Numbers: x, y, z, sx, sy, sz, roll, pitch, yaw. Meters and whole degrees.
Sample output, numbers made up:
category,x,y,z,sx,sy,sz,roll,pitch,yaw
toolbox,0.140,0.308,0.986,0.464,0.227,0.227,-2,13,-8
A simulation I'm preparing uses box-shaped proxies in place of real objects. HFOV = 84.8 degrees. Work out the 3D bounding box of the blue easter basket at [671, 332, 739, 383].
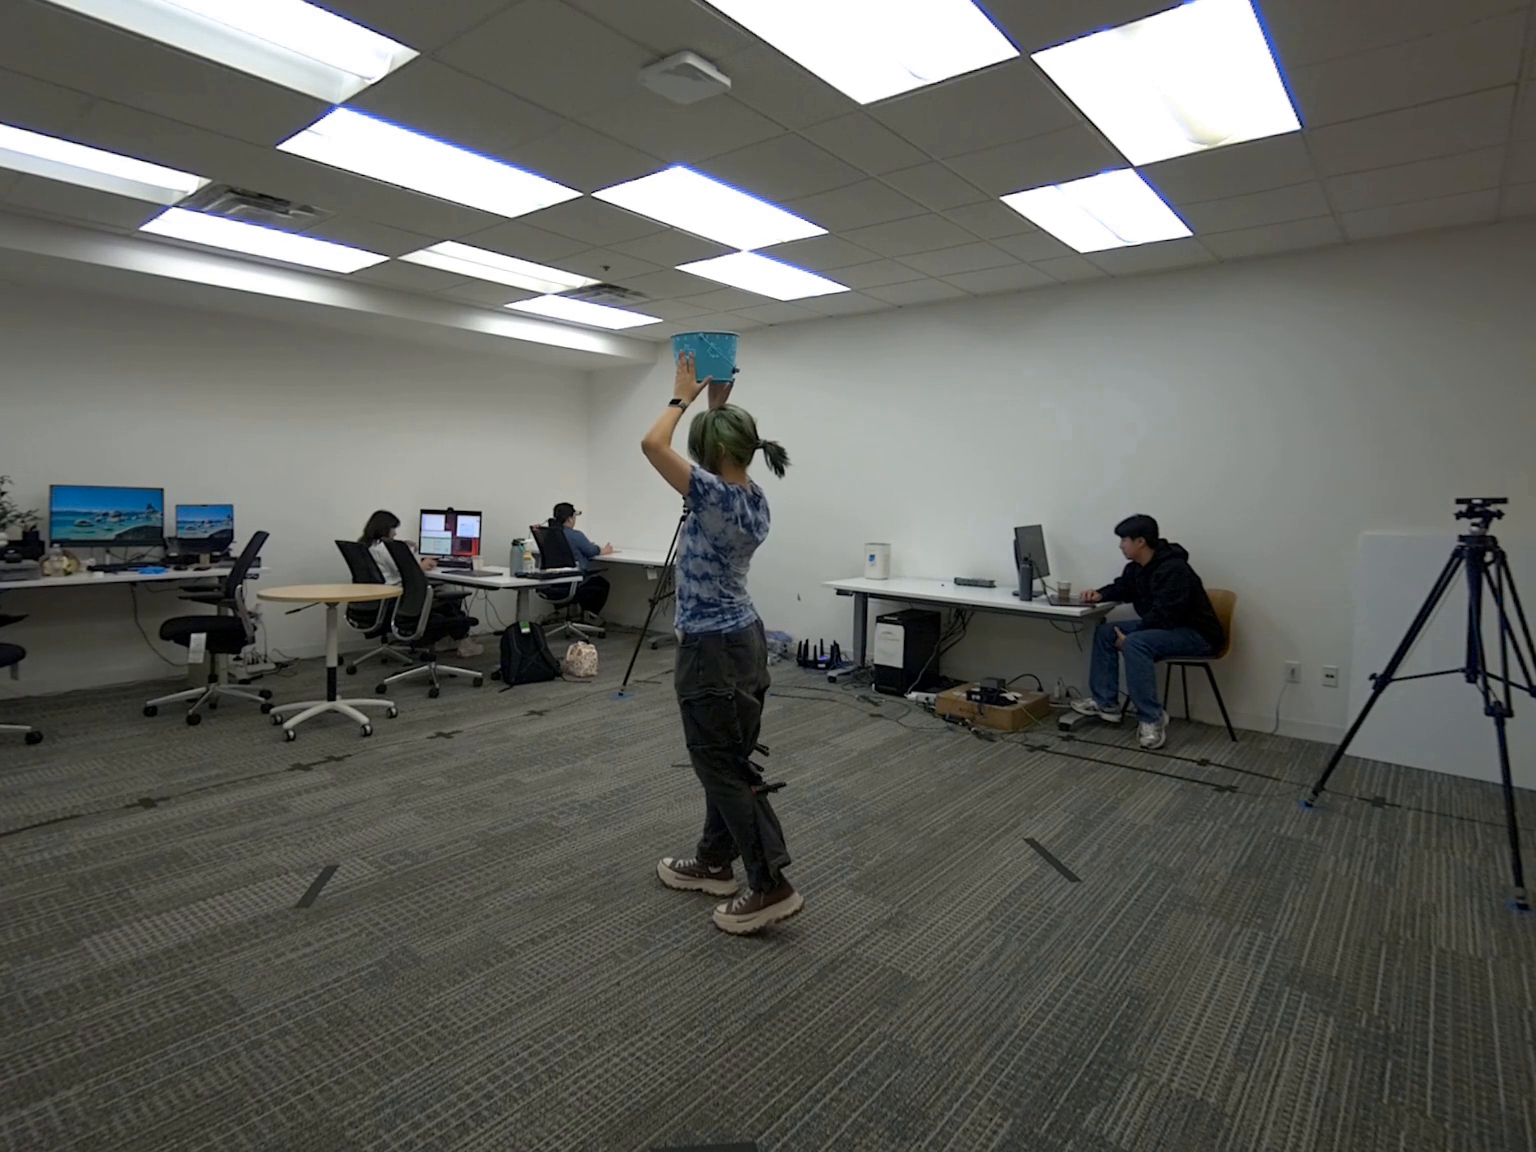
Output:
category,x,y,z,sx,sy,sz,roll,pitch,yaw
blue easter basket,-0.216,-0.725,2.823,0.243,0.155,0.245,-3,7,-2
